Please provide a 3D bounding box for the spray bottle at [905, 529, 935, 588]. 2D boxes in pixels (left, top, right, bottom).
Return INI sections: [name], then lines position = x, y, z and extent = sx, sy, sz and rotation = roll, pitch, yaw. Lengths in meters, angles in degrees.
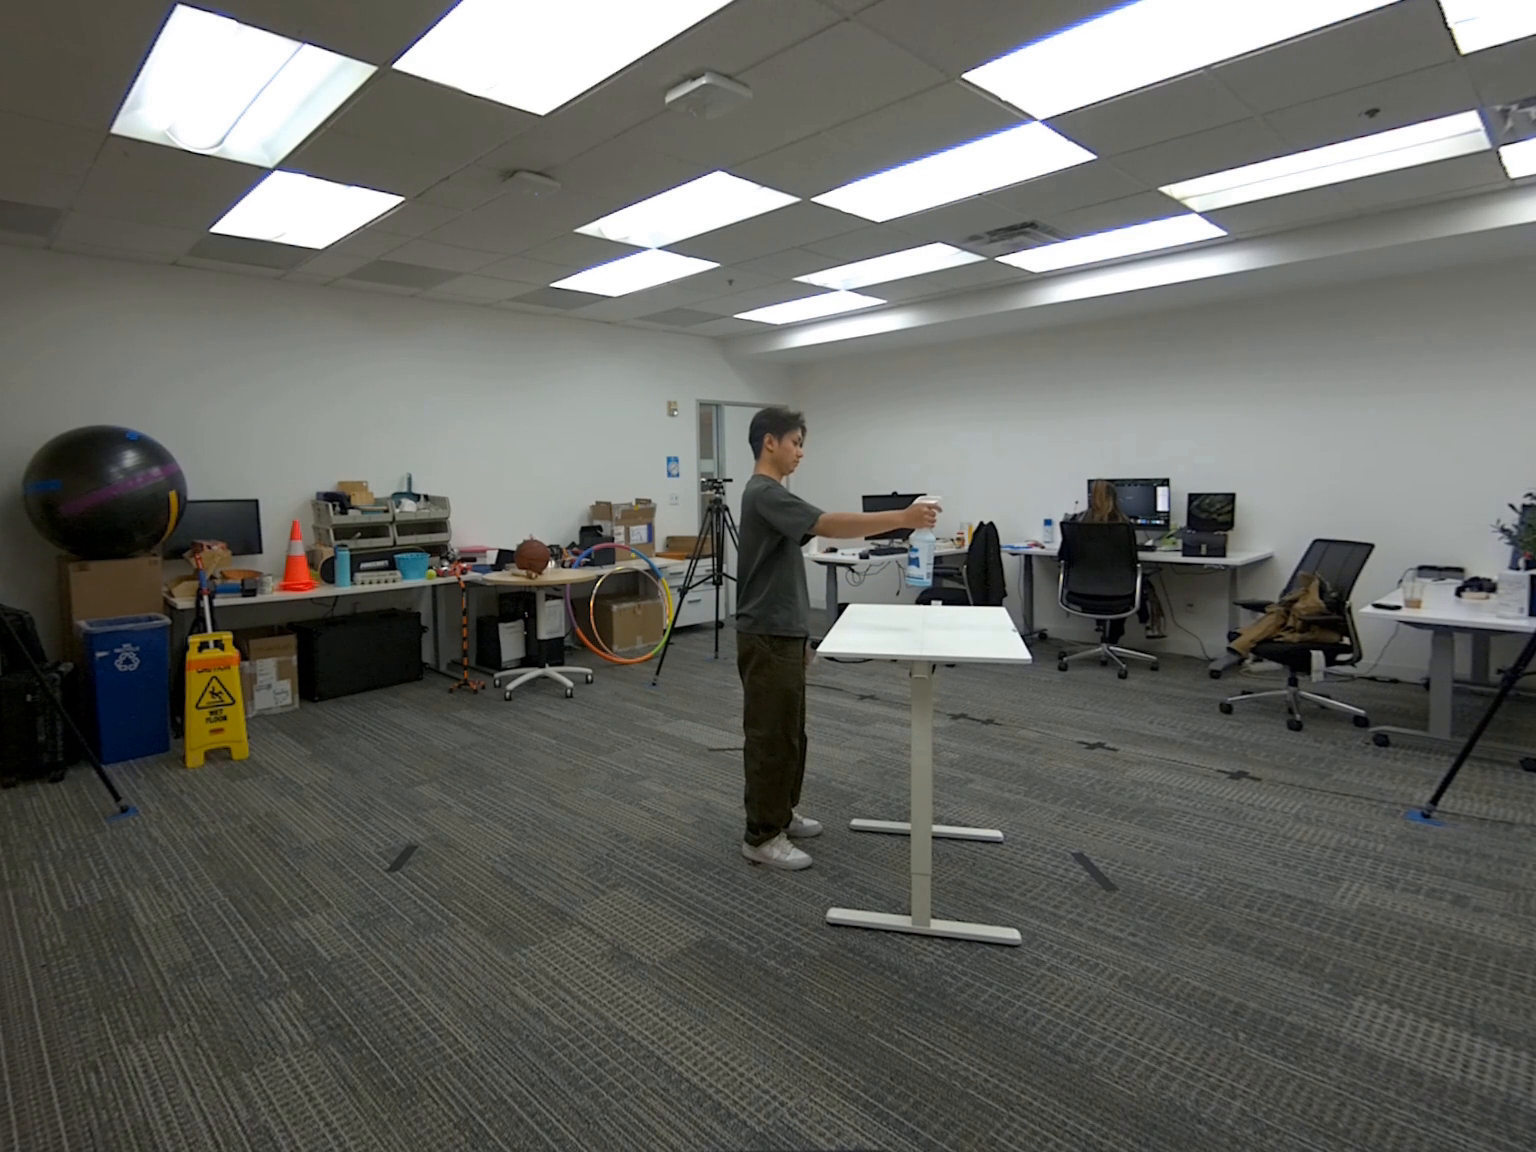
[spray bottle]
position = 0.517, -0.118, 2.844
extent = 0.092, 0.296, 0.085
rotation = 6, 5, 26
